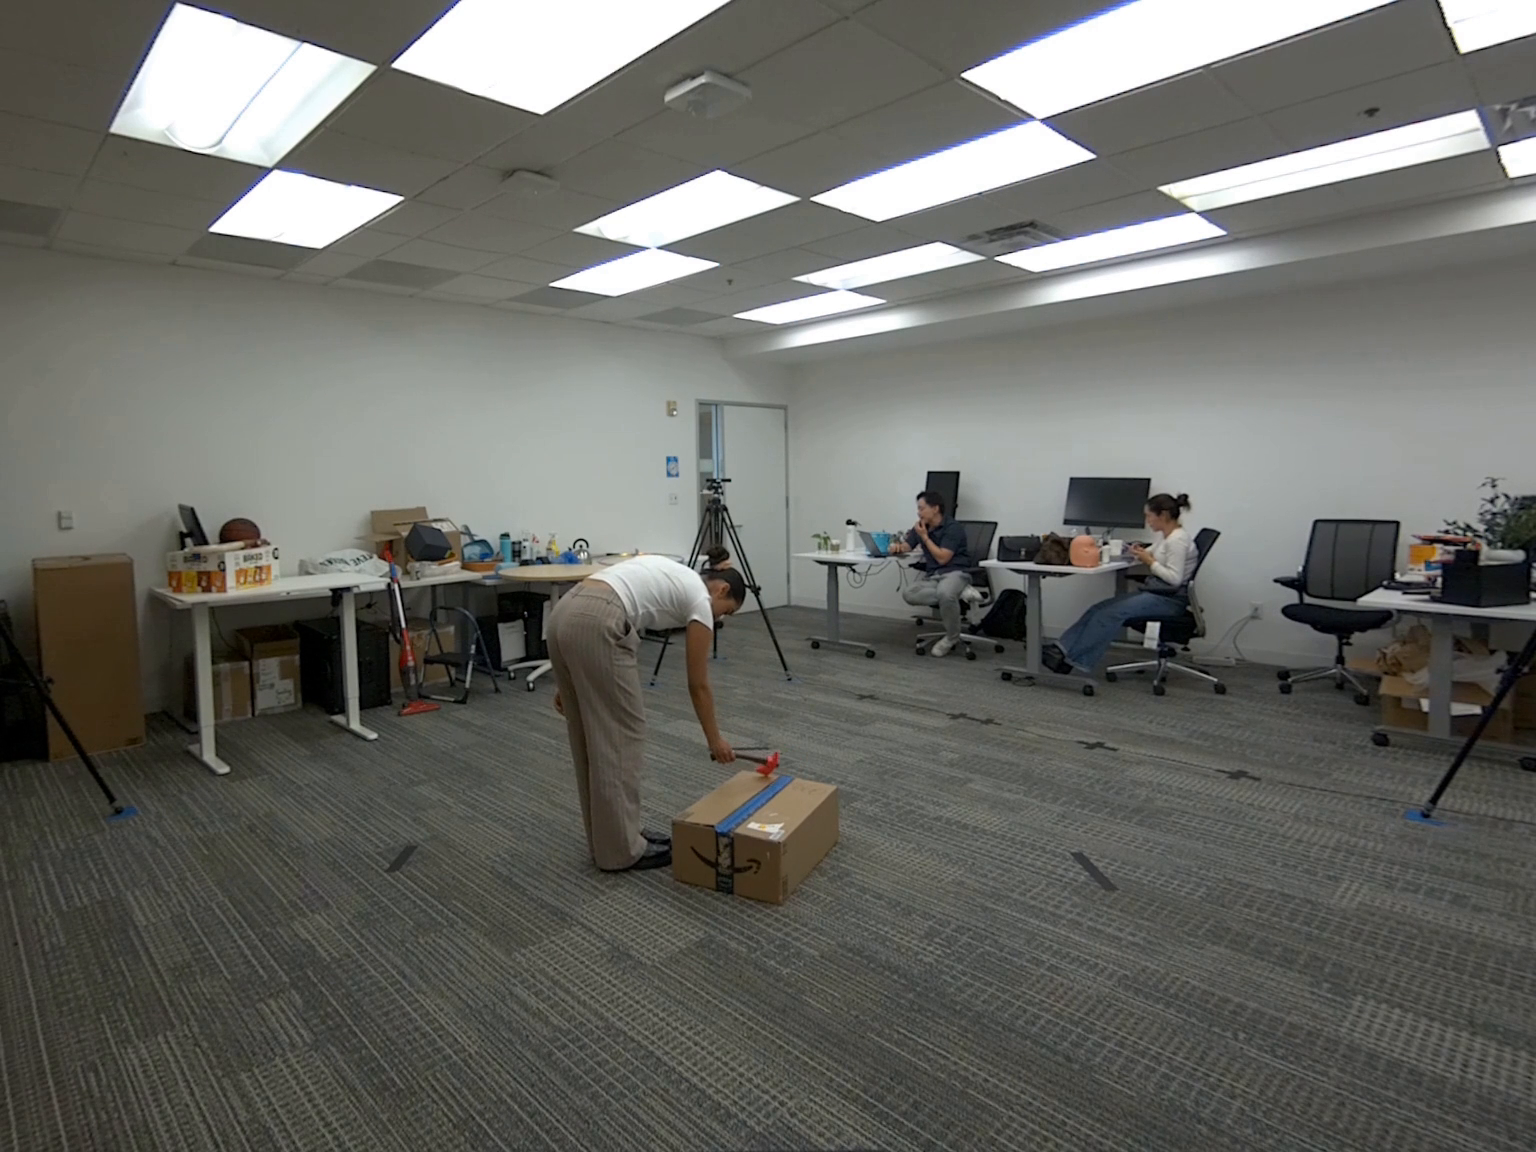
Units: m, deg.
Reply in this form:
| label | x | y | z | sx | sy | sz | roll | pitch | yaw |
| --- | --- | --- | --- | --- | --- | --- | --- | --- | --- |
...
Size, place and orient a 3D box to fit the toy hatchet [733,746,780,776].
| label | x | y | z | sx | sy | sz | roll | pitch | yaw |
| --- | --- | --- | --- | --- | --- | --- | --- | --- | --- |
| toy hatchet | -0.098 | 0.736 | 3.355 | 0.270 | 0.128 | 0.030 | -1 | 29 | 0 |
